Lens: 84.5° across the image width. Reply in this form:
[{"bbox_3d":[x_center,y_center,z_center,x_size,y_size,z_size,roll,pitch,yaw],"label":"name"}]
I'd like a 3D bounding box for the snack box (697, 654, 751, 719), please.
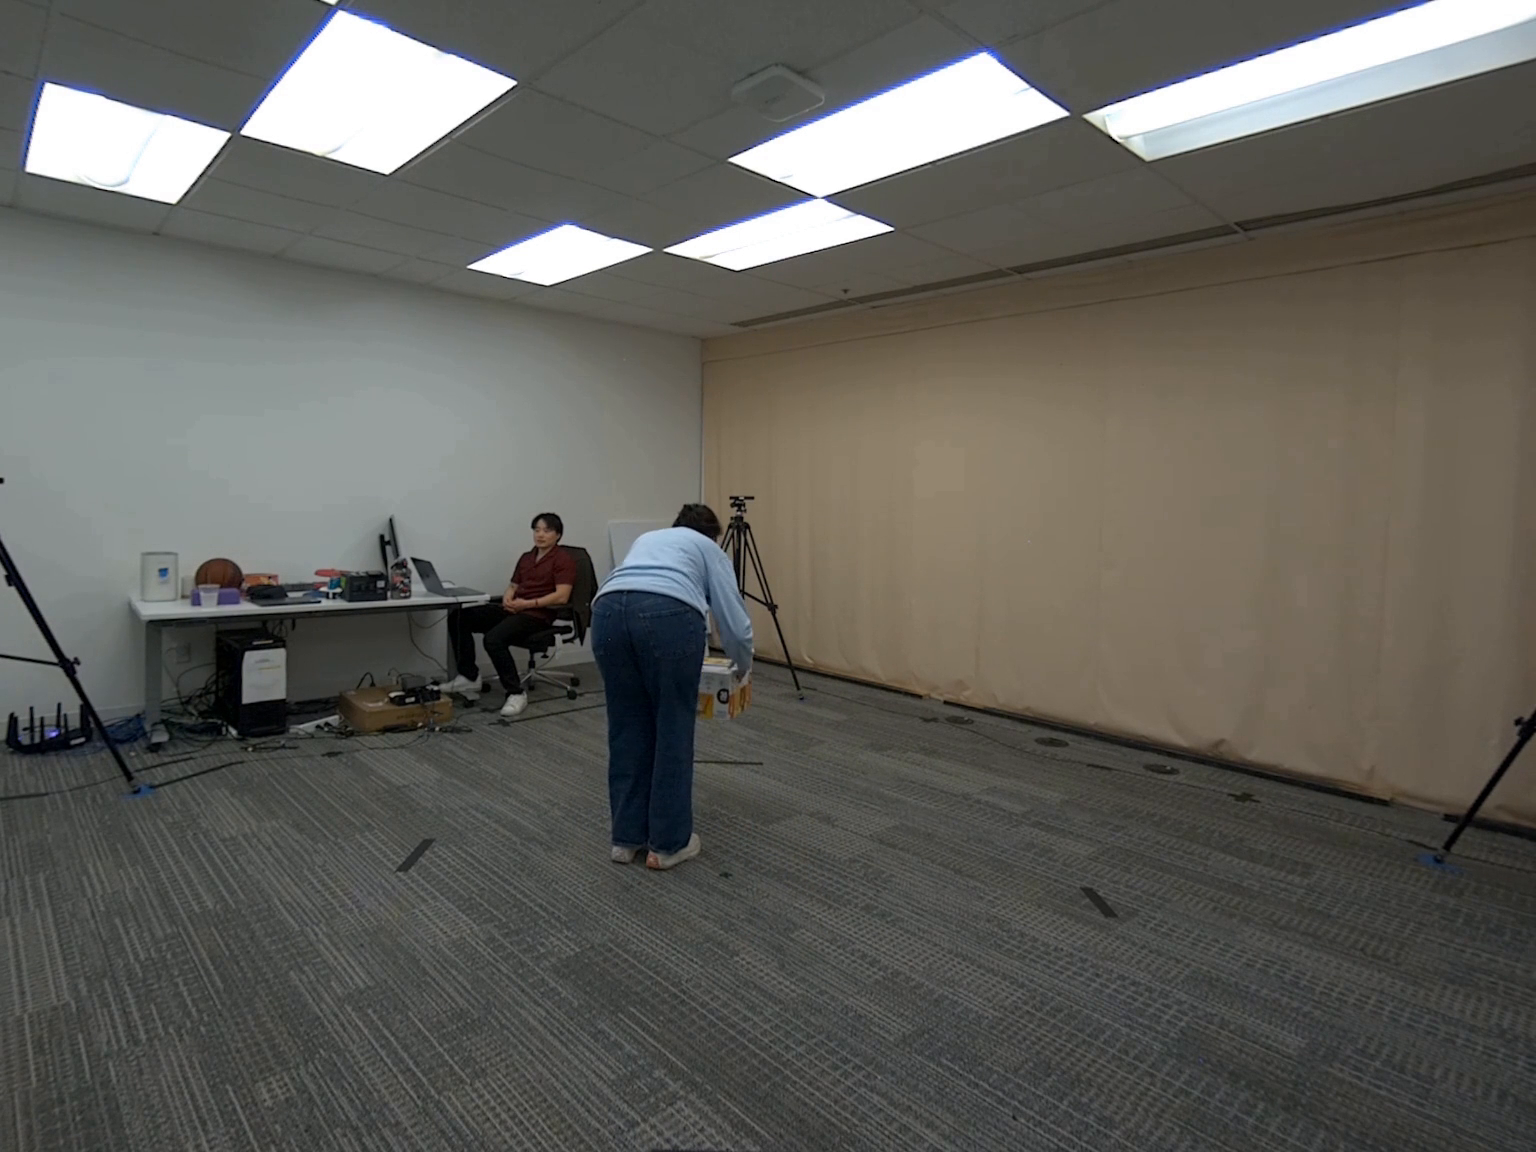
[{"bbox_3d":[-0.328,0.486,3.711,0.411,0.205,0.336,4,3,16],"label":"snack box"}]
